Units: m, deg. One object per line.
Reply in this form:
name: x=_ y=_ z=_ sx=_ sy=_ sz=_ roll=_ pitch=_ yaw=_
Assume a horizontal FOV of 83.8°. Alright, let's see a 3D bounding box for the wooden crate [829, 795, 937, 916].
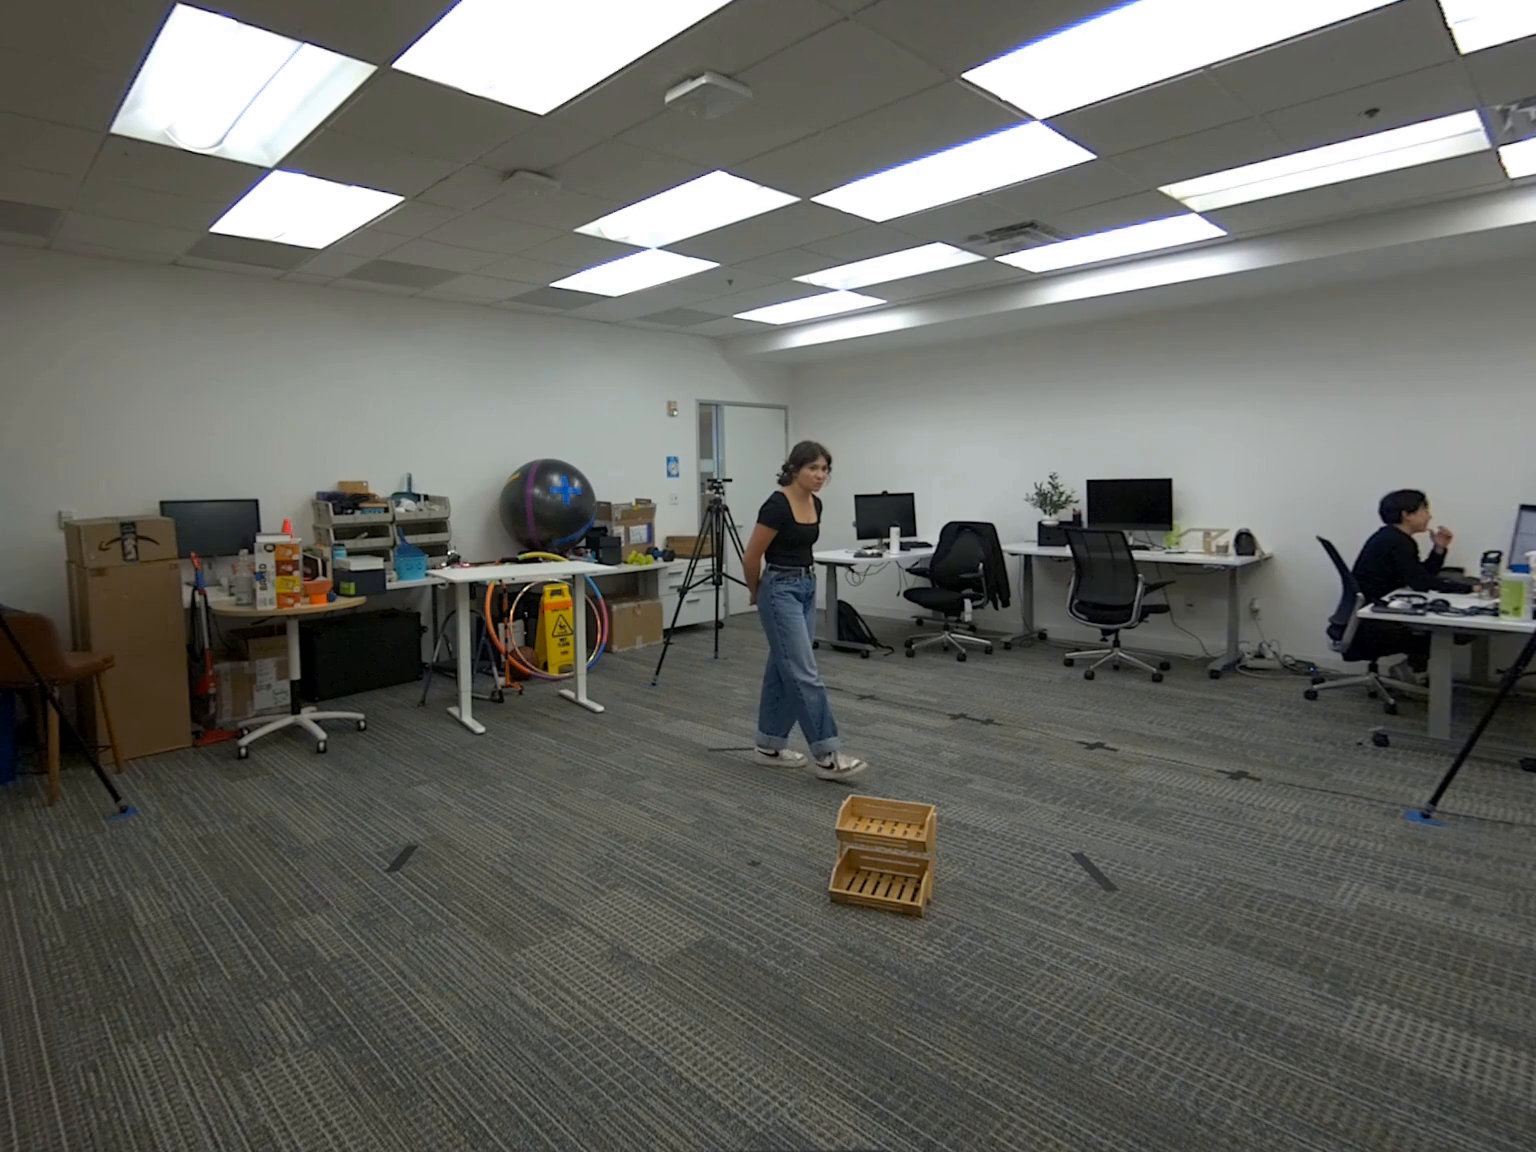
wooden crate: x=0.390 y=0.933 z=2.873 sx=0.331 sy=0.272 sz=0.297 roll=1 pitch=5 yaw=21
